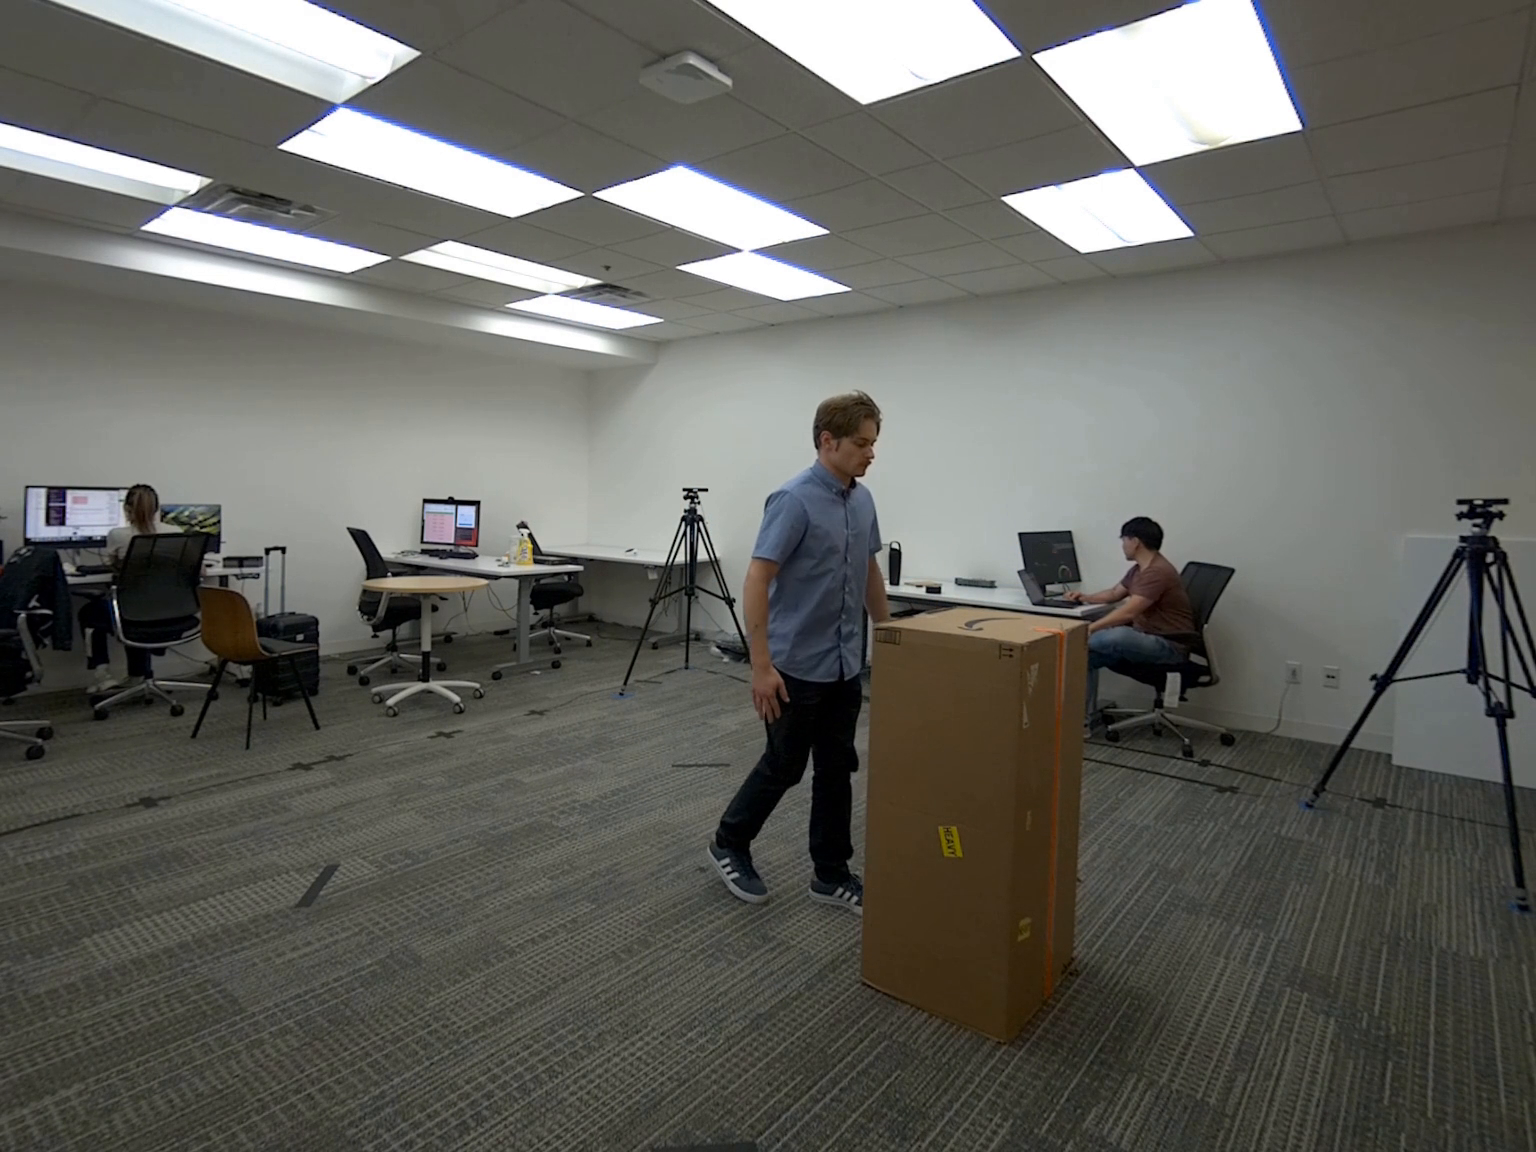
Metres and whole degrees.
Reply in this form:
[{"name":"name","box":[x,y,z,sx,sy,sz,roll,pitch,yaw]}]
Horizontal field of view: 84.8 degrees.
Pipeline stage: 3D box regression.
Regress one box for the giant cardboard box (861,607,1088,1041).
[{"name":"giant cardboard box","box":[0.609,0.640,2.475,0.440,1.024,0.560,3,3,37]}]
